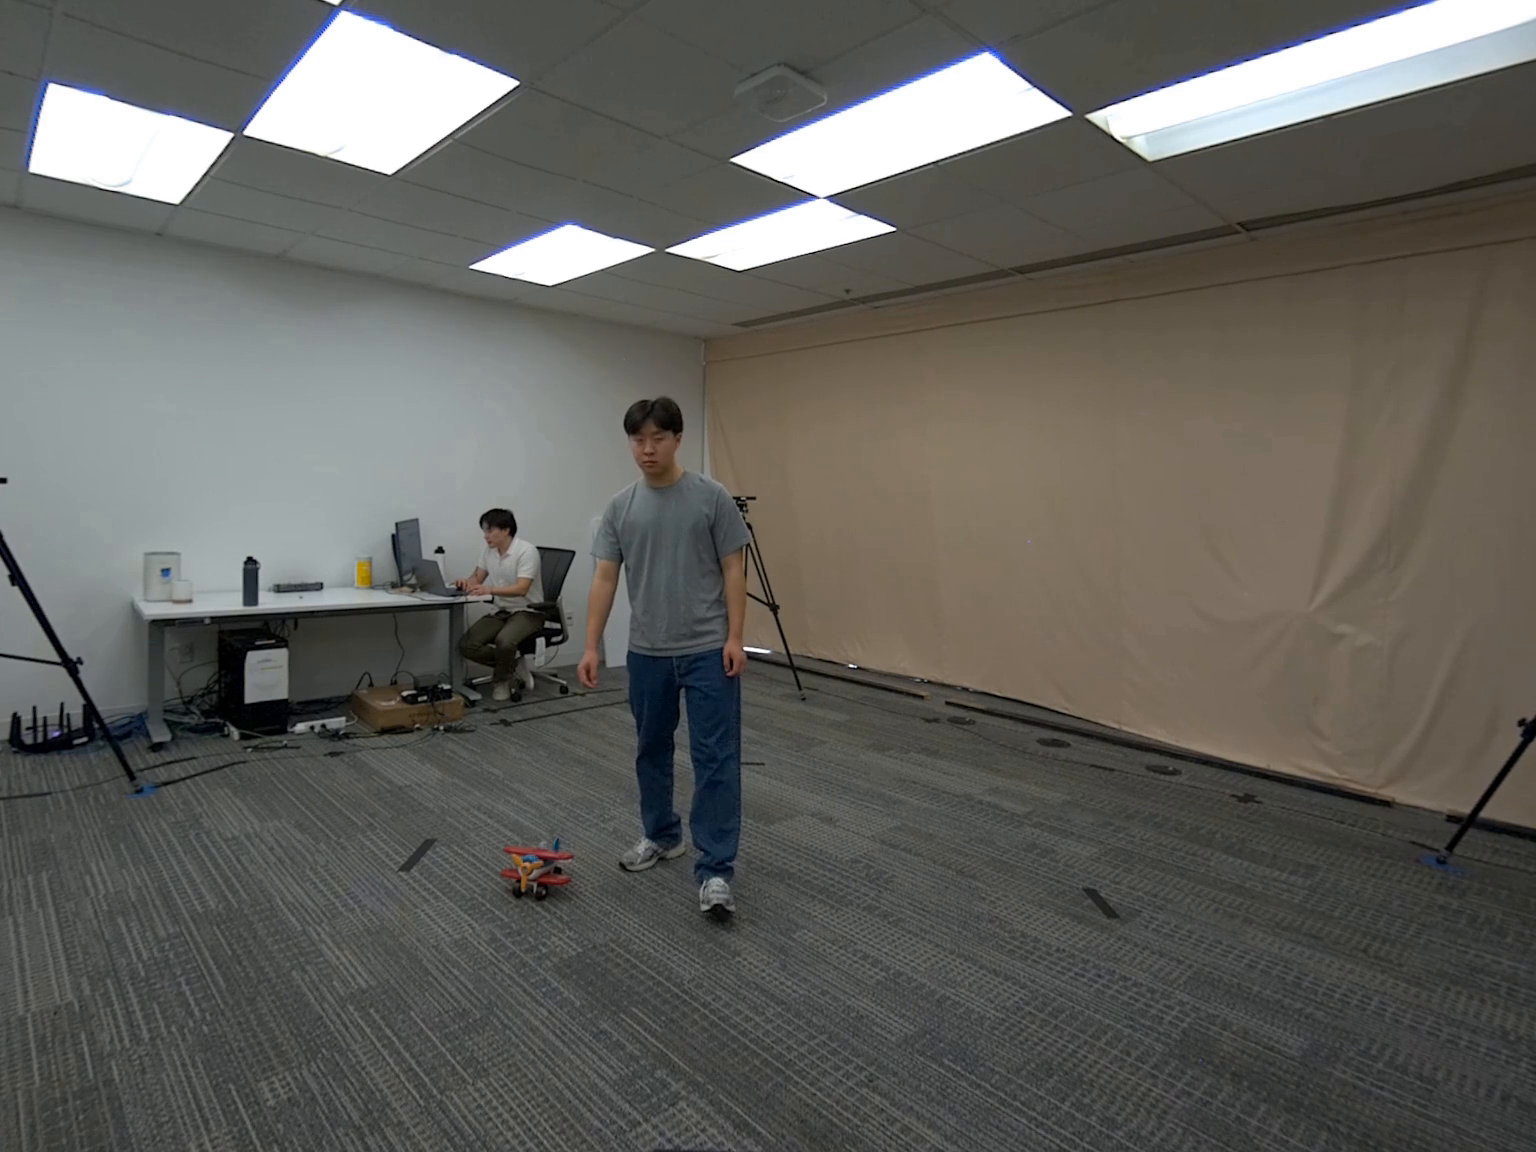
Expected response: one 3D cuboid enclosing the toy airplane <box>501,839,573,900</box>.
[{"bbox_3d":[-0.826,1.027,2.973,0.248,0.156,0.263,0,6,-16],"label":"toy airplane"}]
